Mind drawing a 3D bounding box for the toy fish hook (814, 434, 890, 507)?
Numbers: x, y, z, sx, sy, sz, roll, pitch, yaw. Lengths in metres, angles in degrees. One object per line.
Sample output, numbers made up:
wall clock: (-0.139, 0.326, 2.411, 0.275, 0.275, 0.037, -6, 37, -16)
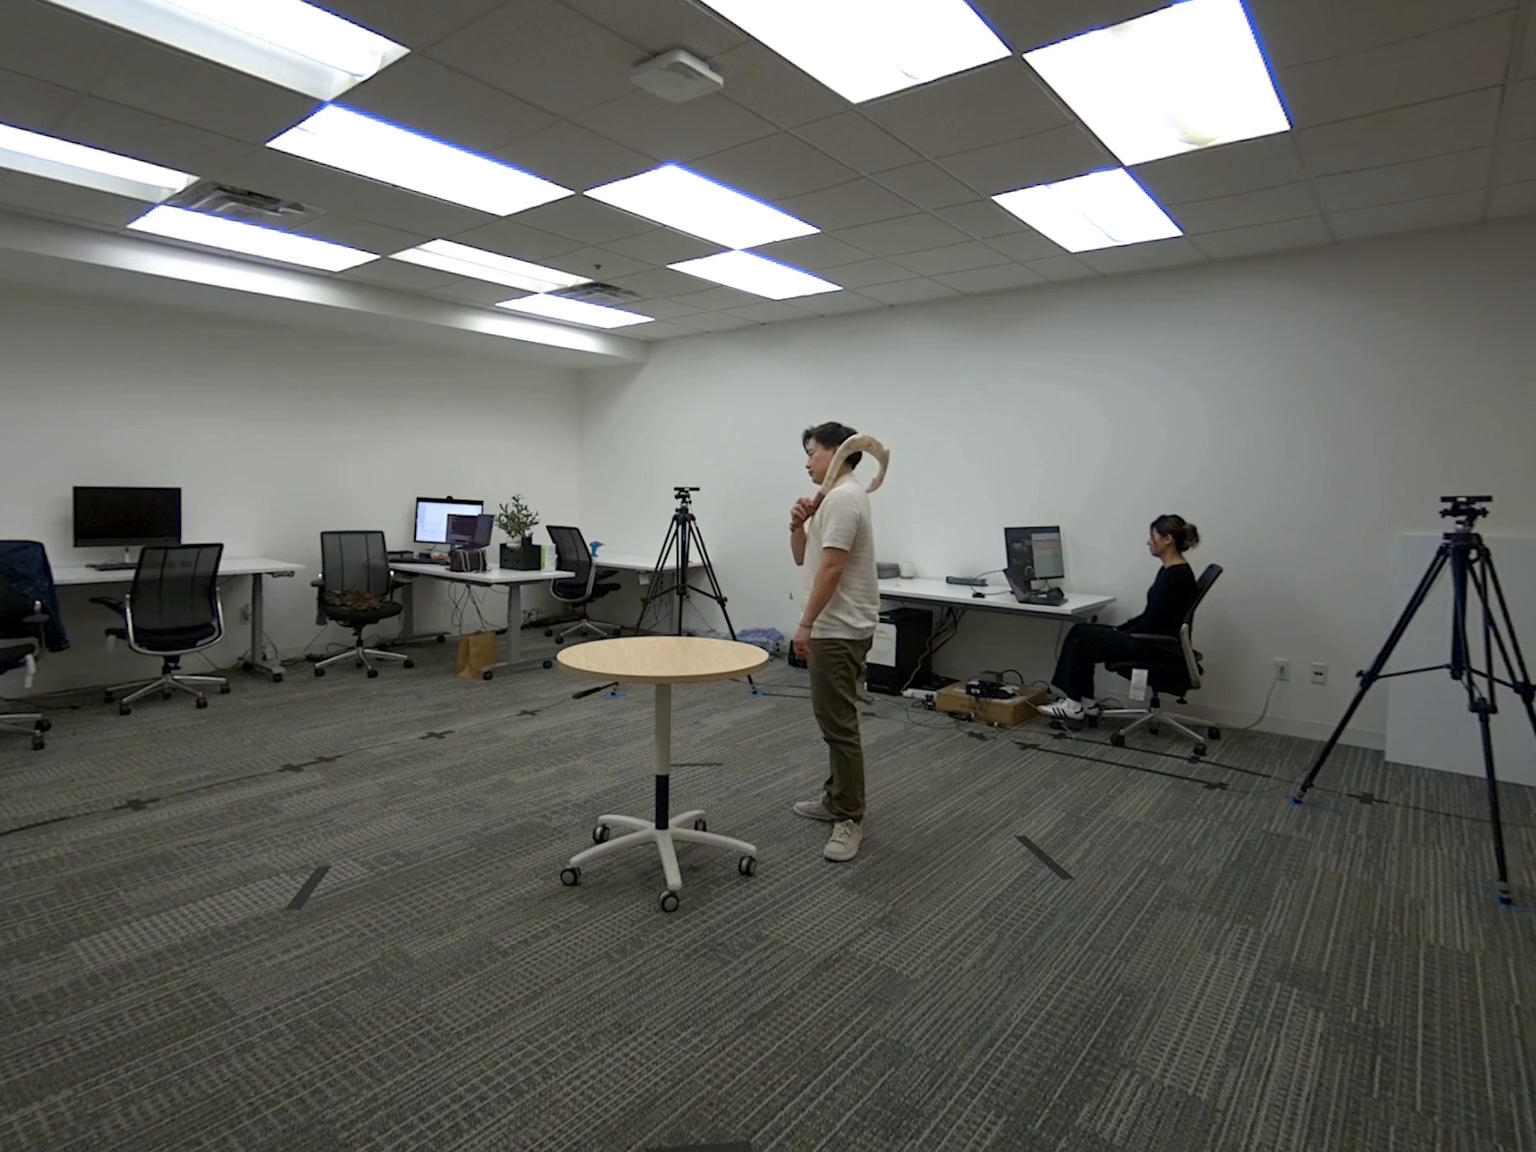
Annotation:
toy fish hook: (0.283, -0.356, 3.460, 0.225, 0.506, 0.048, 39, 10, 2)
